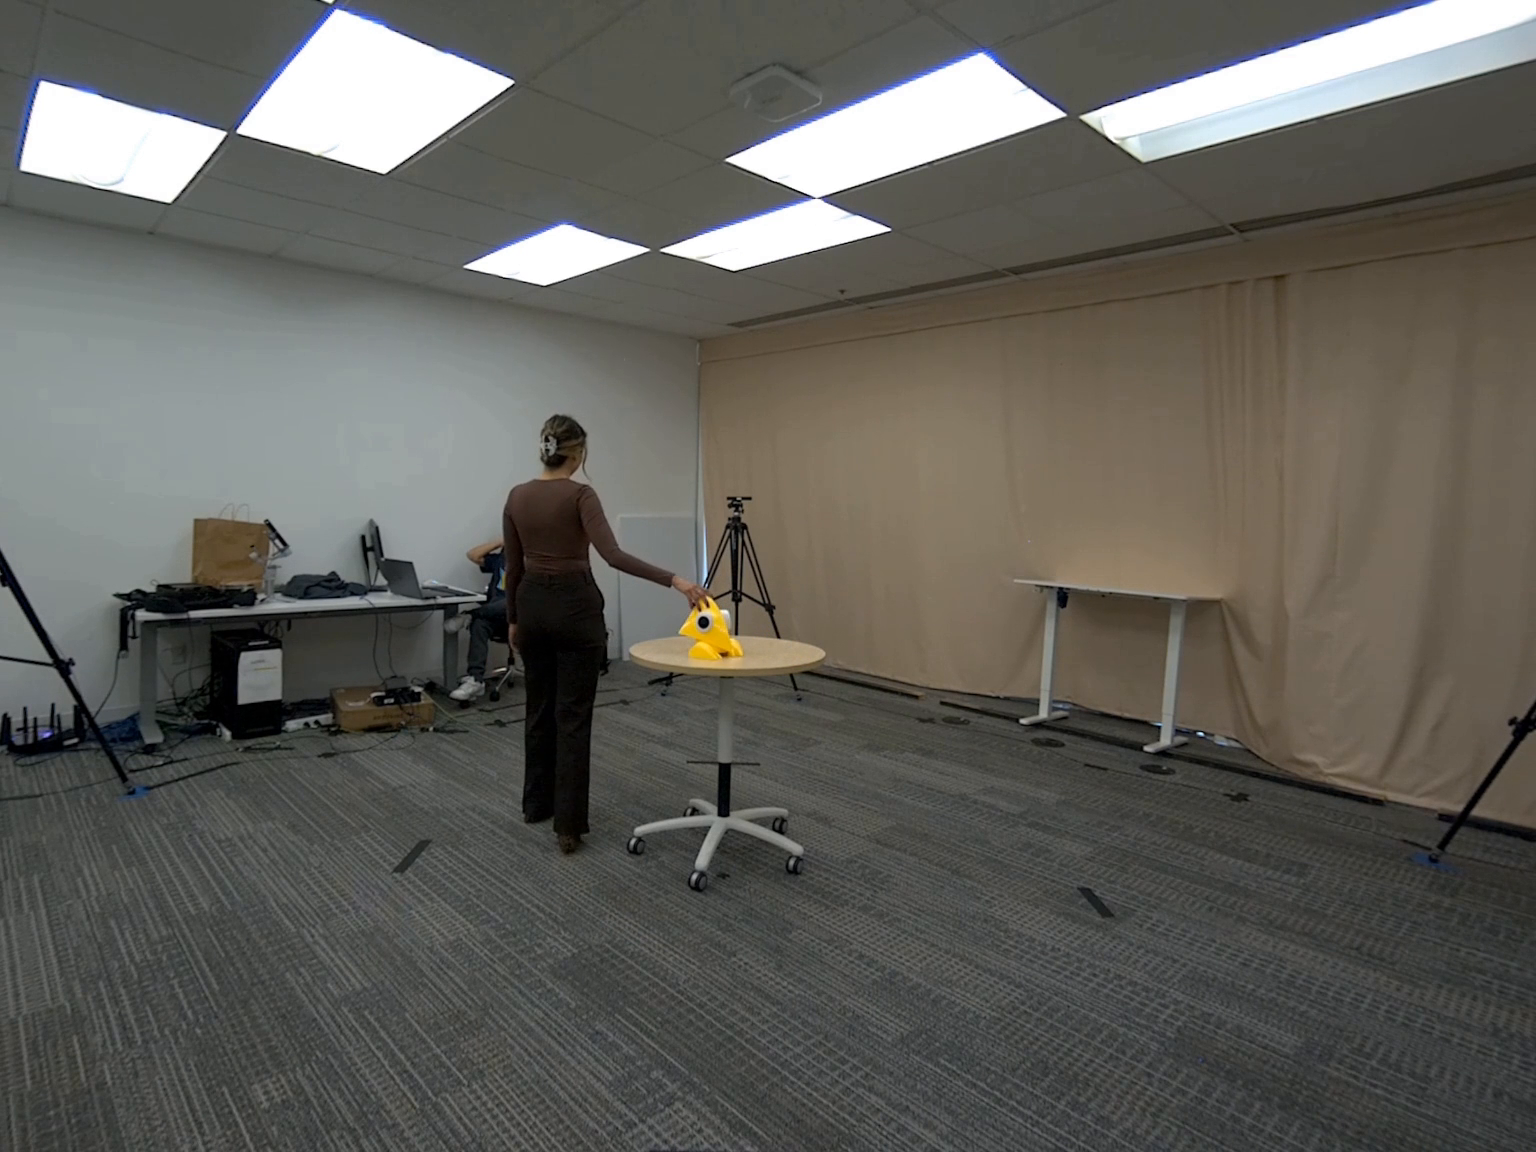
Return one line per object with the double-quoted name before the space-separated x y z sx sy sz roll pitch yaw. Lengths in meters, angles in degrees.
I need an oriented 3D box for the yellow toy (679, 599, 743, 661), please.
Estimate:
"yellow toy" -0.210 0.185 3.185 0.200 0.230 0.198 -1 4 -43
